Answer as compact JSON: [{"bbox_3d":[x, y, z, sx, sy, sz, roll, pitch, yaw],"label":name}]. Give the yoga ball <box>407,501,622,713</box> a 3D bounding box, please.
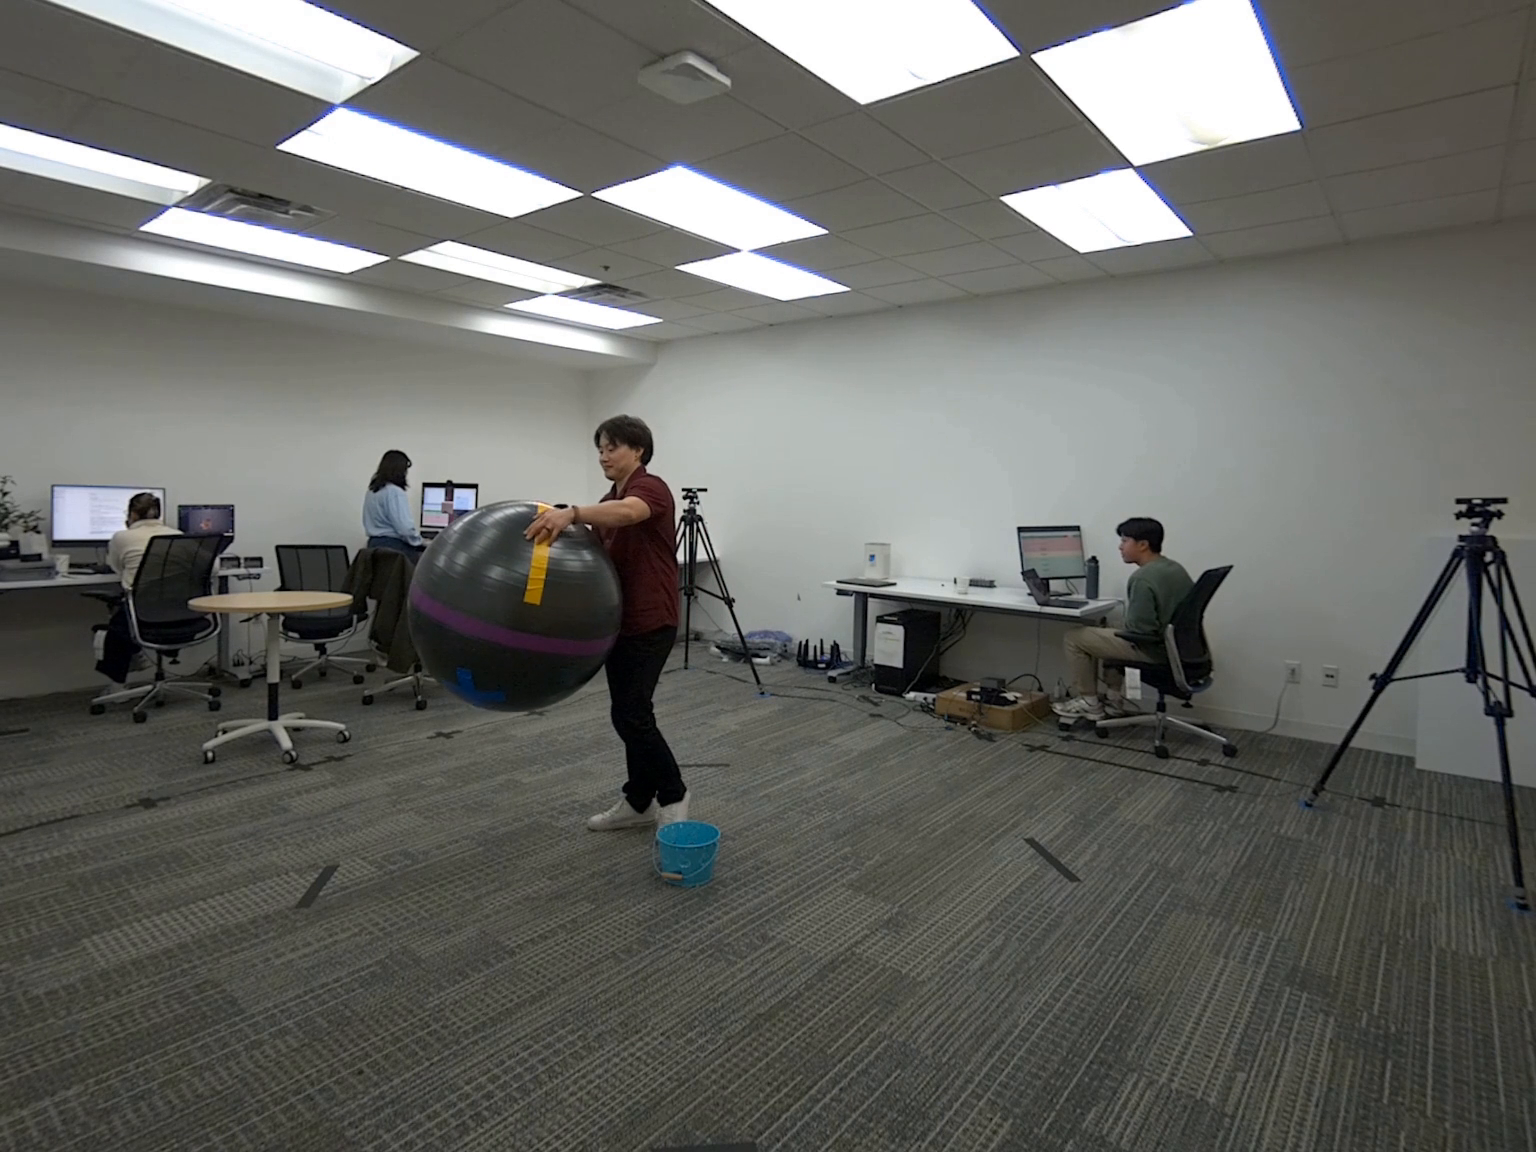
[{"bbox_3d":[-0.919,0.110,3.078,0.757,0.756,0.761,1,4,-2],"label":"yoga ball"}]
